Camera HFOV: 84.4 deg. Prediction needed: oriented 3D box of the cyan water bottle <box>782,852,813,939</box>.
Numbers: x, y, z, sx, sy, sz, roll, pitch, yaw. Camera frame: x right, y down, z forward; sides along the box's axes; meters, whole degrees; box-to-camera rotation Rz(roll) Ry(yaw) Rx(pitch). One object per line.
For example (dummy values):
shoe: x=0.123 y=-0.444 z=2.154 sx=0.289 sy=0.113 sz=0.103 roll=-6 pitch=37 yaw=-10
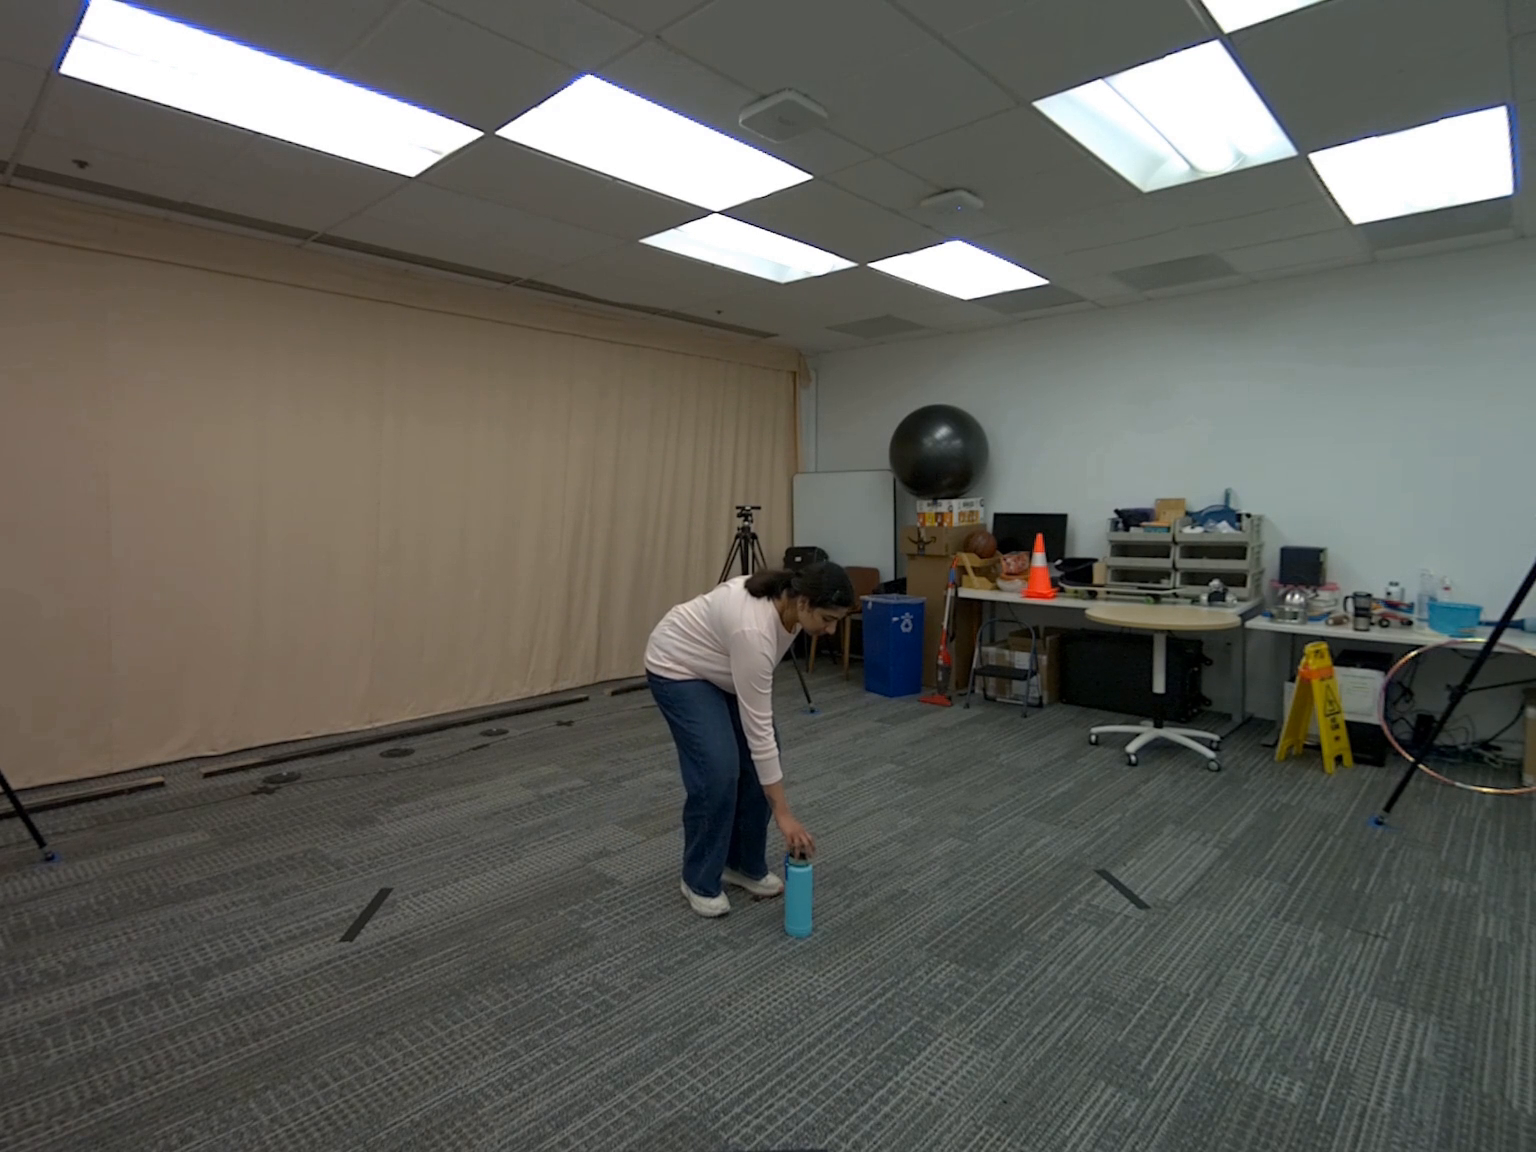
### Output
cyan water bottle: x=0.105 y=1.027 z=2.753 sx=0.092 sy=0.283 sz=0.092 roll=0 pitch=3 yaw=-2
